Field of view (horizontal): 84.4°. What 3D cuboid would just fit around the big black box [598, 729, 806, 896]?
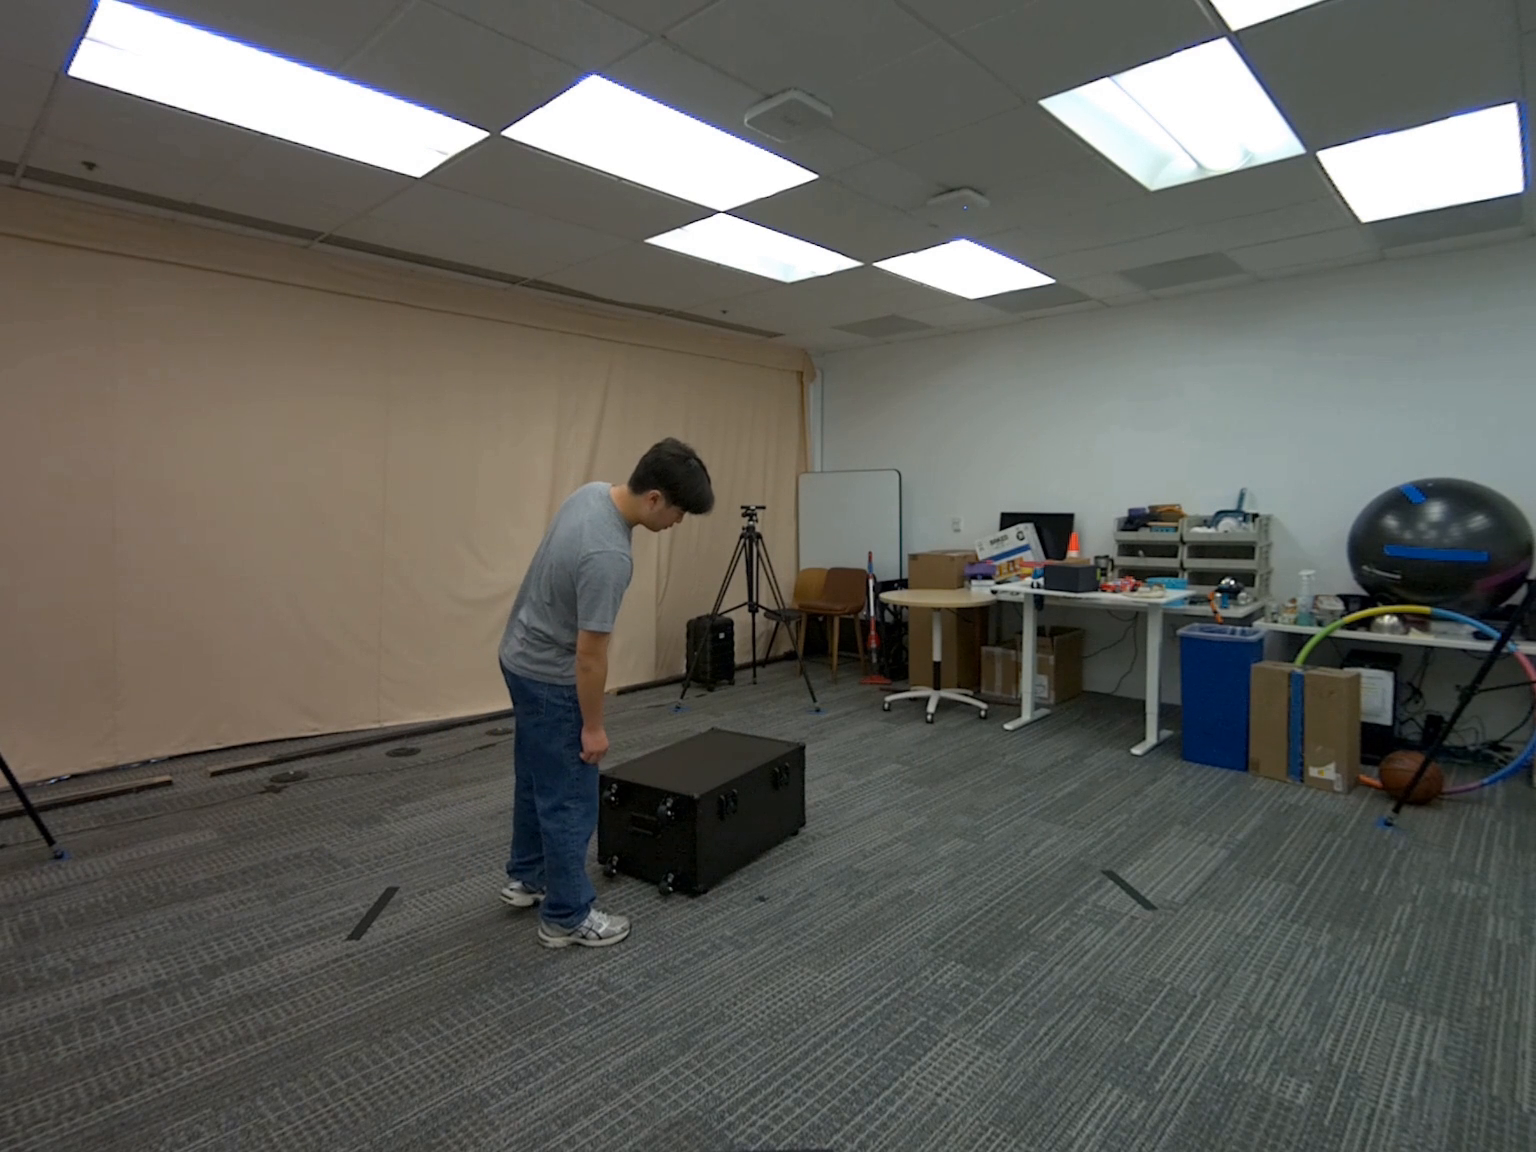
[{"bbox_3d":[-0.263,0.921,3.381,0.537,0.395,0.838,2,6,33],"label":"big black box"}]
